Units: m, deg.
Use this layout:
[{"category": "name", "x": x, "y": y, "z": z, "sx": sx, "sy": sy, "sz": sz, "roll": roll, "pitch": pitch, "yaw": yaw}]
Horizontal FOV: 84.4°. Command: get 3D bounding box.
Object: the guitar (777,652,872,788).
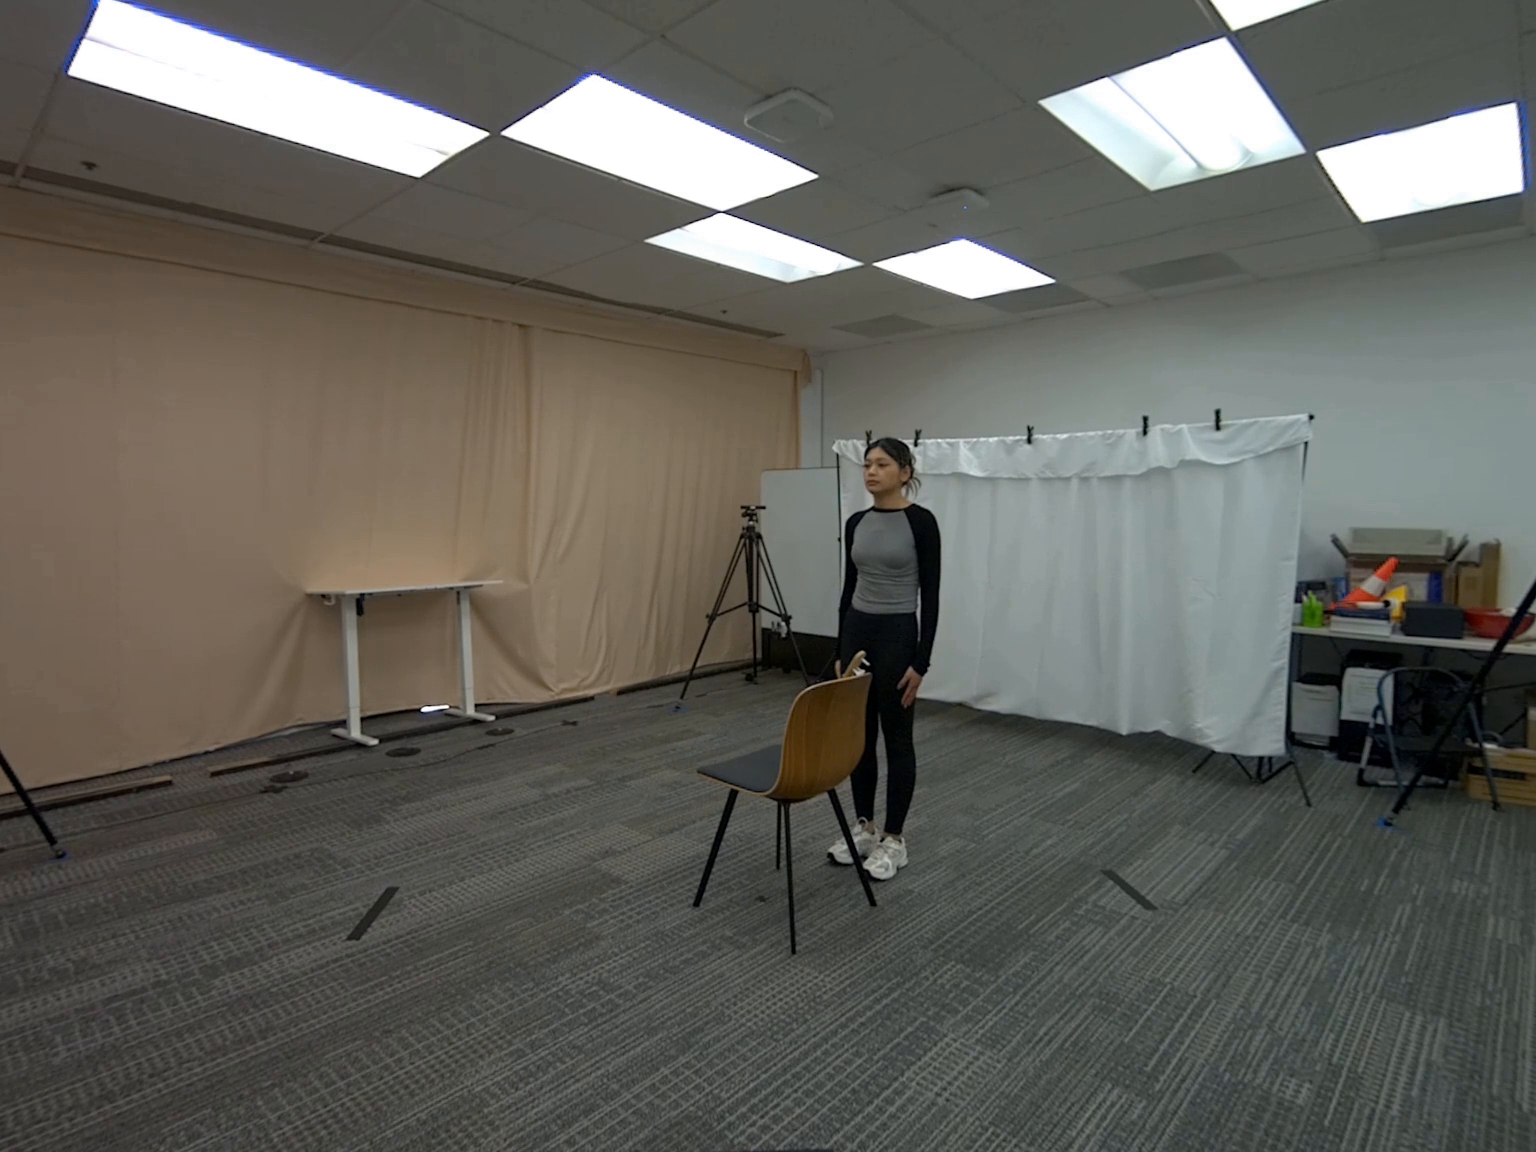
[{"category": "guitar", "x": 0.196, "y": 0.468, "z": 2.786, "sx": 0.188, "sy": 0.495, "sz": 0.073, "roll": -17, "pitch": 49, "yaw": -45}]
